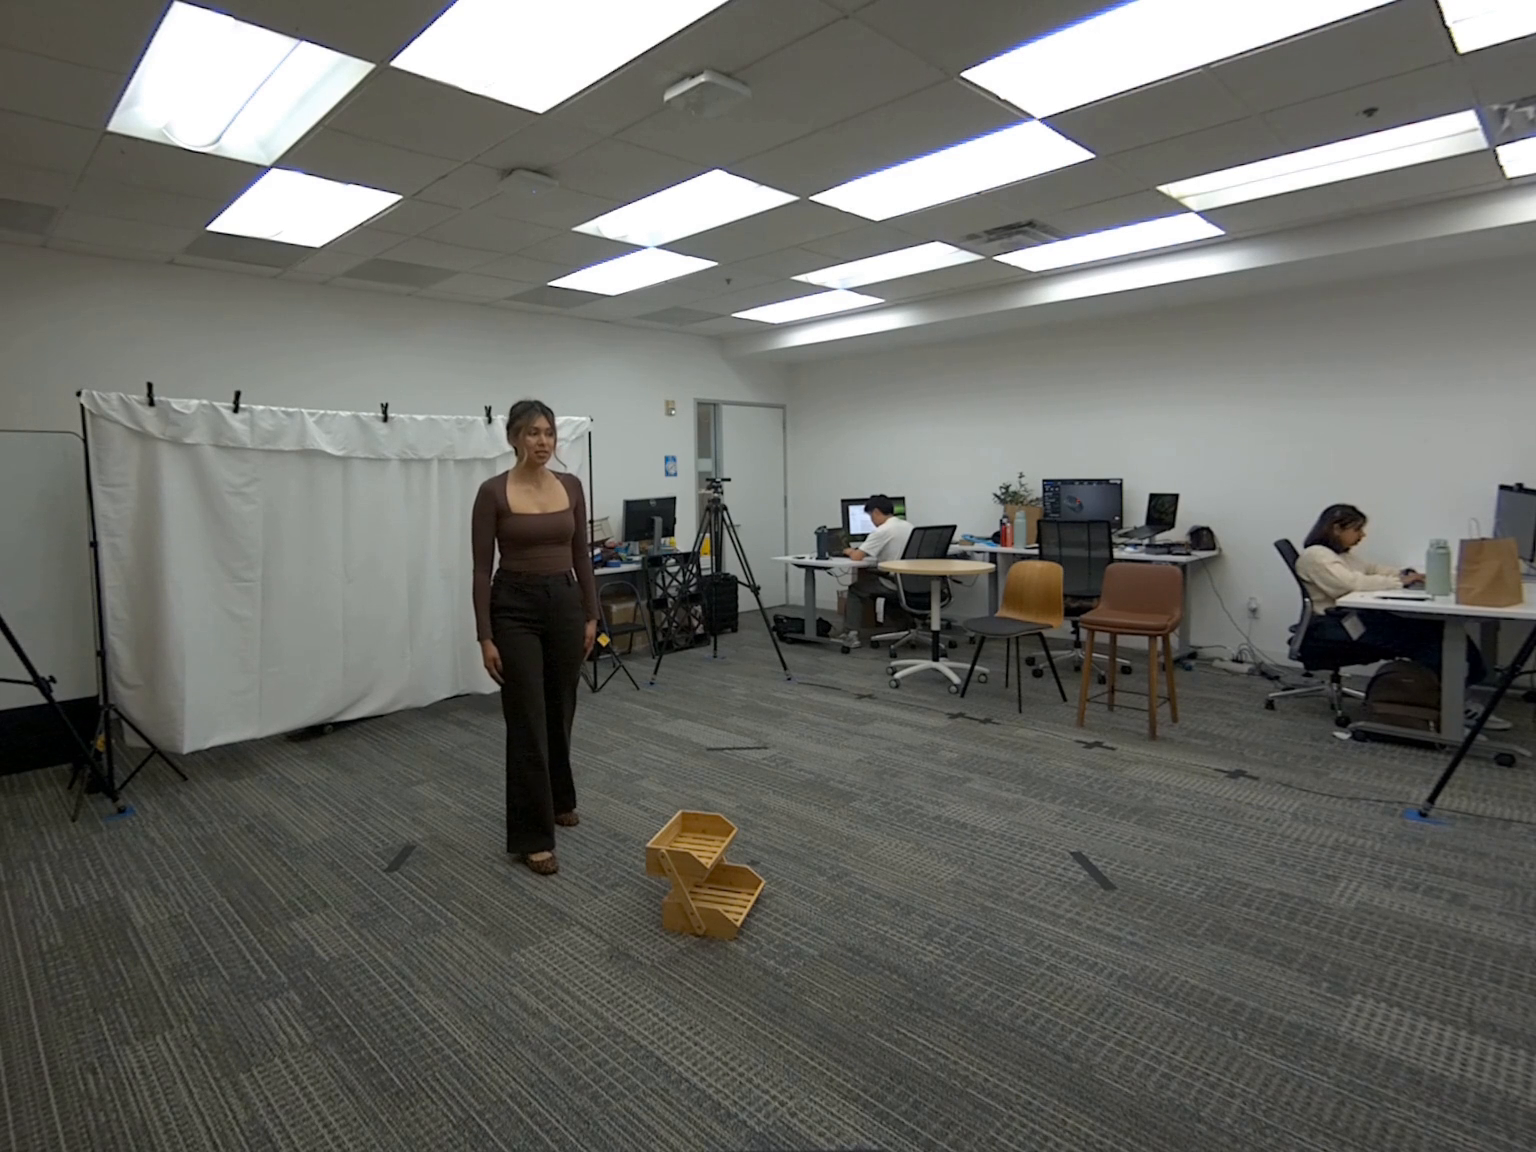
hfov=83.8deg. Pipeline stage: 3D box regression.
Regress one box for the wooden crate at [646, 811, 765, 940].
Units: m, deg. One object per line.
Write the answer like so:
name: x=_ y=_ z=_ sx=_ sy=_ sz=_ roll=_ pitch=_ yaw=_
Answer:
wooden crate: x=-0.187 y=0.952 z=2.762 sx=0.307 sy=0.272 sz=0.320 roll=1 pitch=6 yaw=16
